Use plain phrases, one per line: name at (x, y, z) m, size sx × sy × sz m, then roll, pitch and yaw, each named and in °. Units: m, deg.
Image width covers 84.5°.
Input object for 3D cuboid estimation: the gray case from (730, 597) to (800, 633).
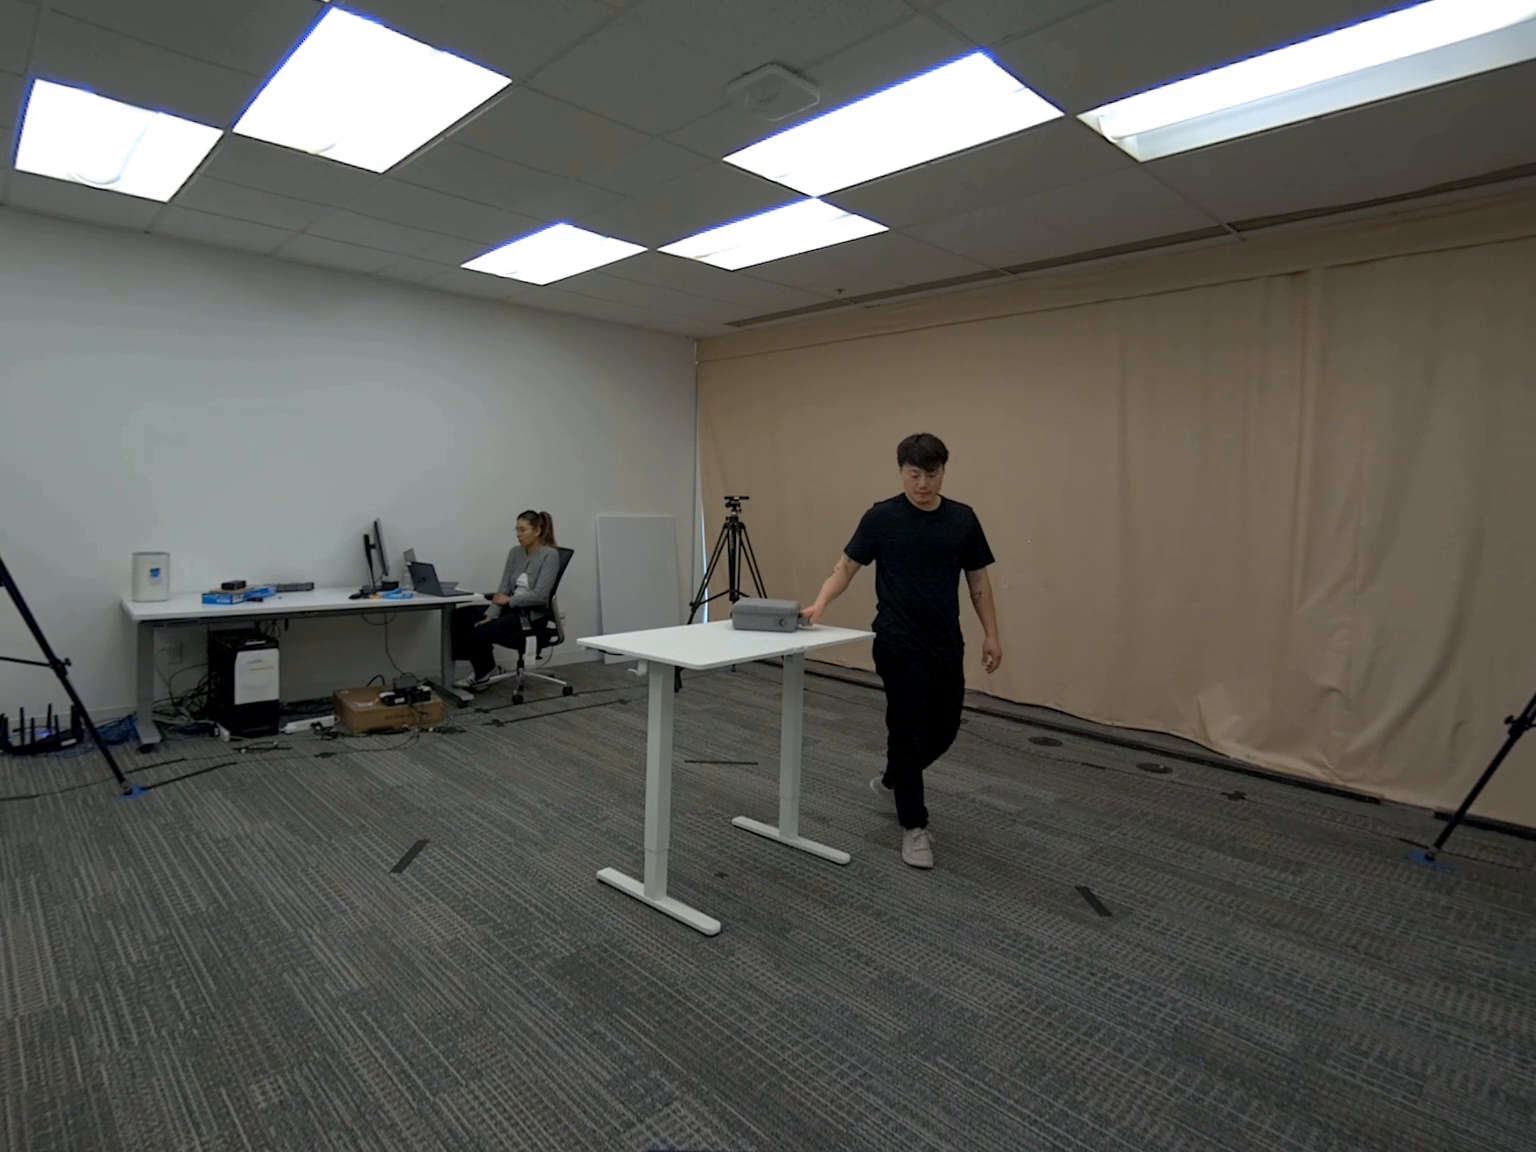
gray case at (-0.018, 0.150, 3.350) m, size 0.262 × 0.104 × 0.256 m, roll 4°, pitch 4°, yaw 5°
